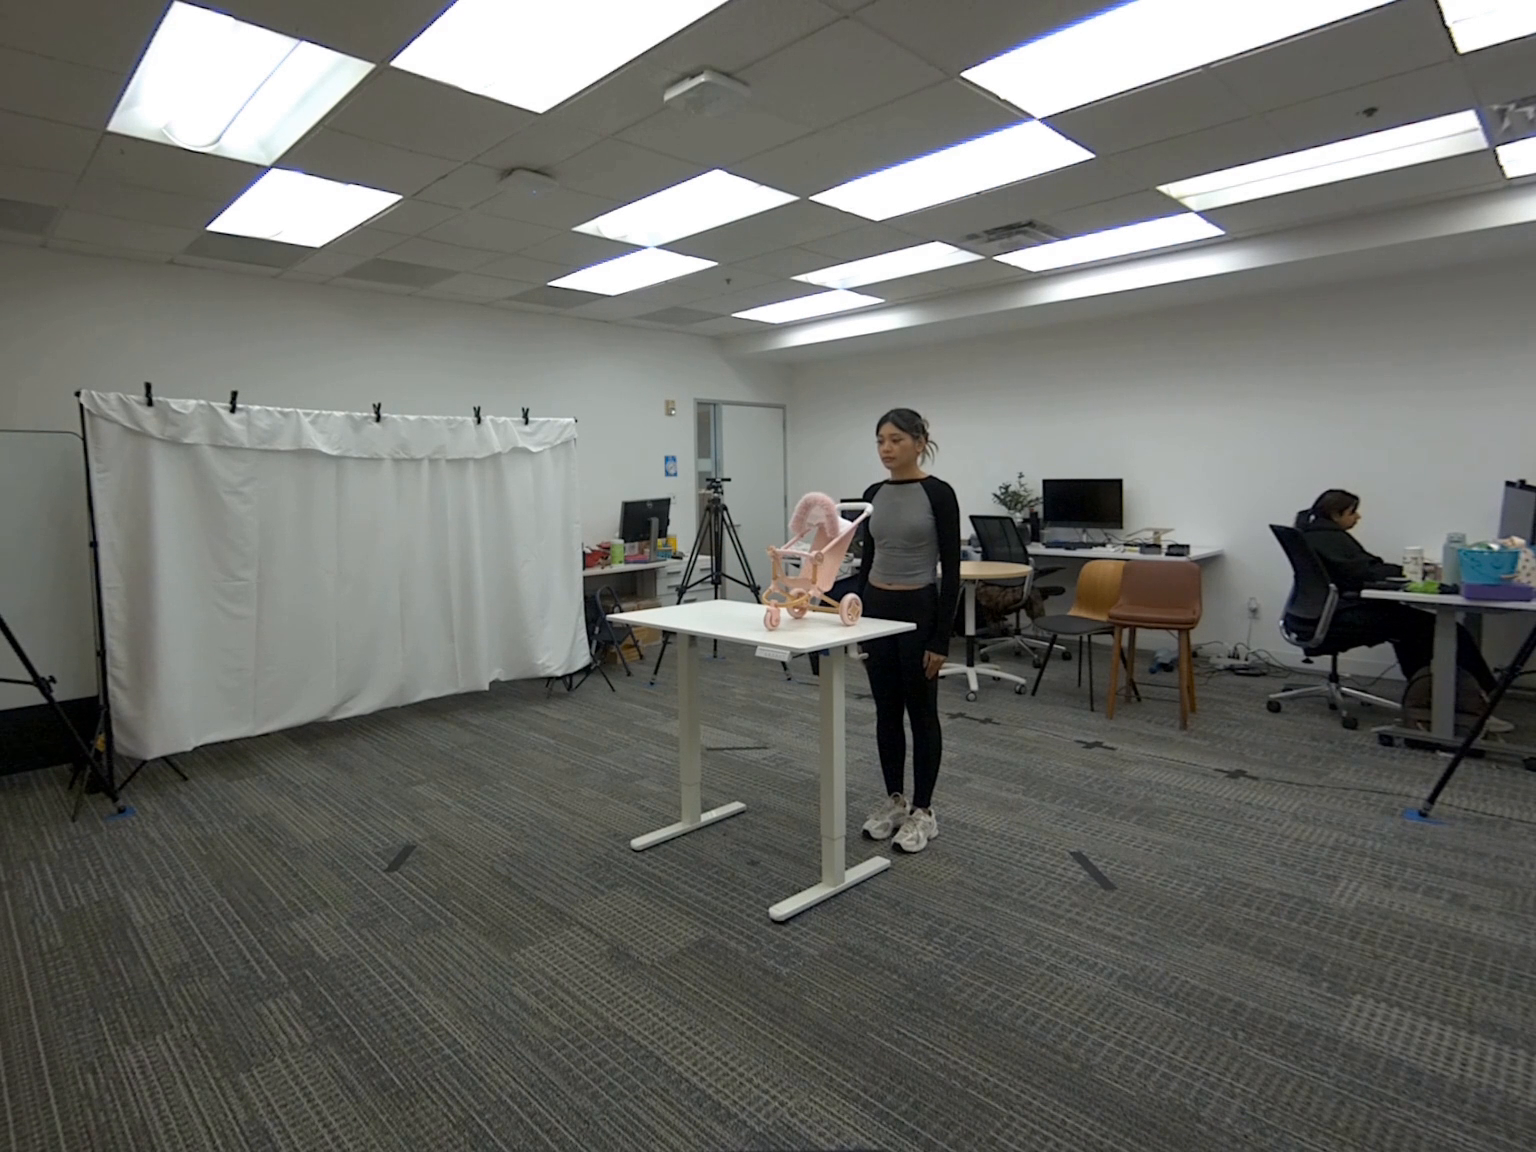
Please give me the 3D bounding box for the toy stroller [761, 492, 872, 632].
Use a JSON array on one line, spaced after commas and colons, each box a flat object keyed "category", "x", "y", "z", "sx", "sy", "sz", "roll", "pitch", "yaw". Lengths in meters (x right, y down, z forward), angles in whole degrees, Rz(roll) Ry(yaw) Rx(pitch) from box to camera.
[{"category": "toy stroller", "x": 0.151, "y": -0.054, "z": 2.976, "sx": 0.329, "sy": 0.538, "sz": 0.290, "roll": 18, "pitch": -9, "yaw": -39}]
